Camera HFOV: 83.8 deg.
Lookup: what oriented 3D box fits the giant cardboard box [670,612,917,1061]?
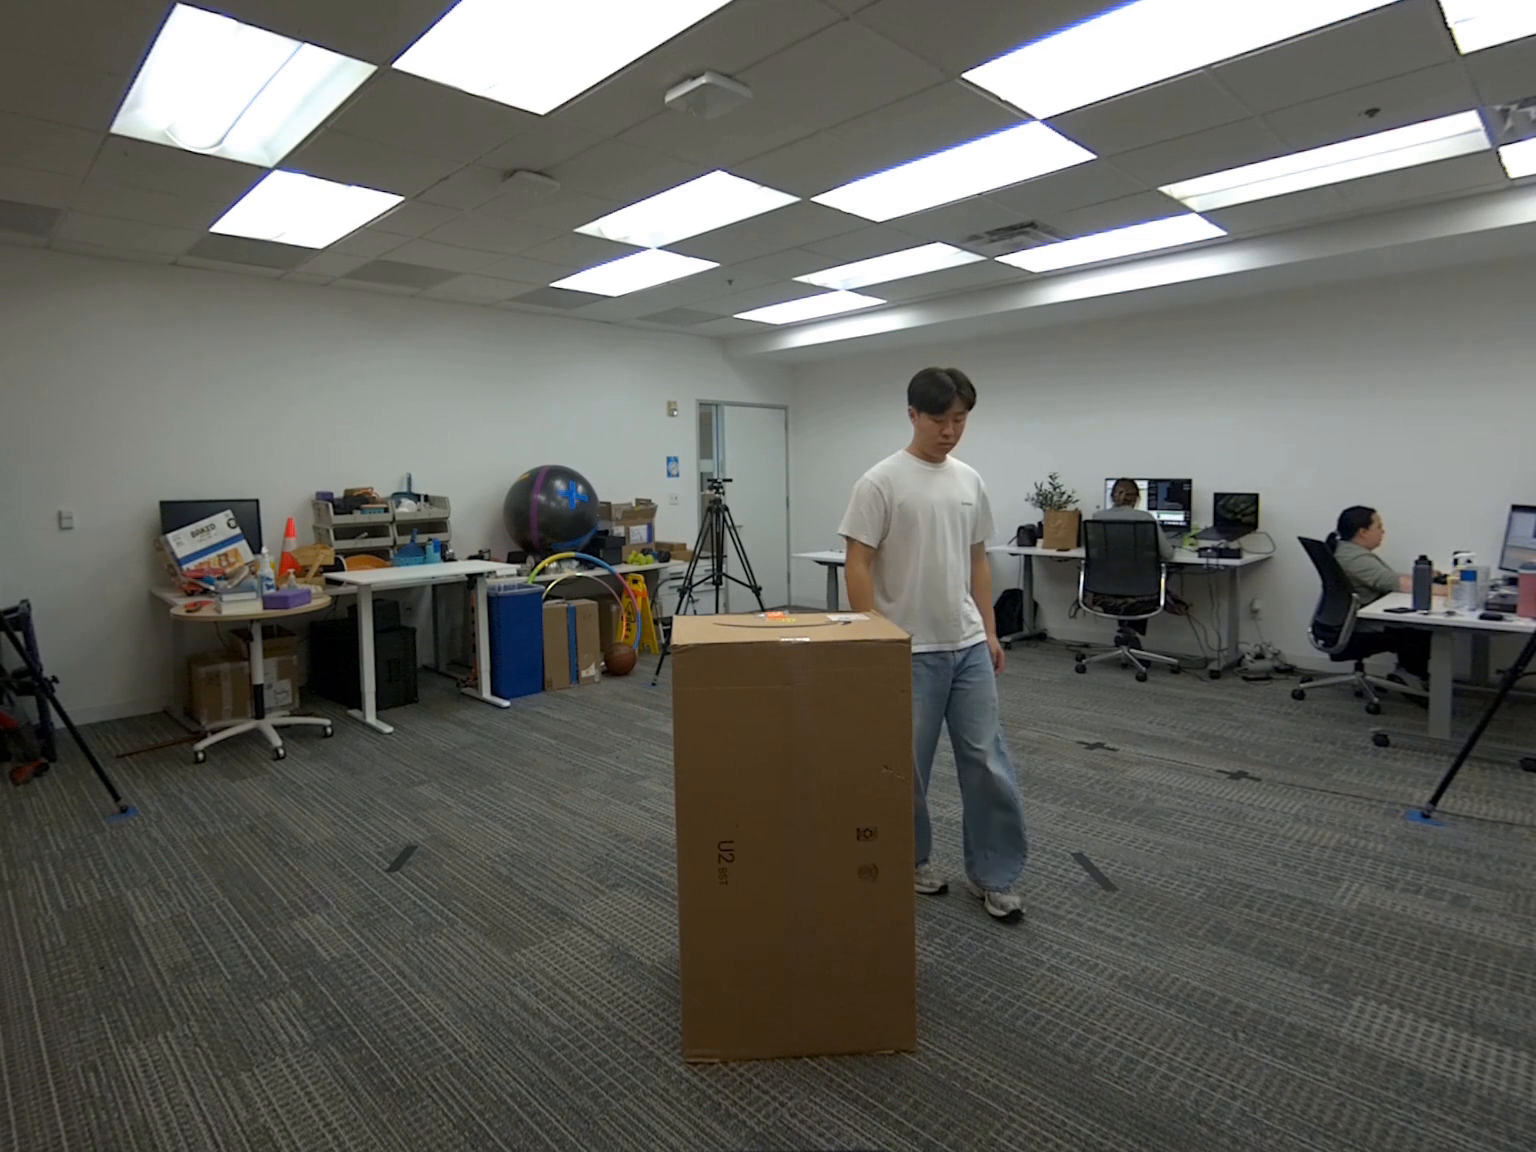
[{"bbox_3d":[0.054,0.635,2.239,0.575,1.022,0.429,-2,4,-4],"label":"giant cardboard box"}]
